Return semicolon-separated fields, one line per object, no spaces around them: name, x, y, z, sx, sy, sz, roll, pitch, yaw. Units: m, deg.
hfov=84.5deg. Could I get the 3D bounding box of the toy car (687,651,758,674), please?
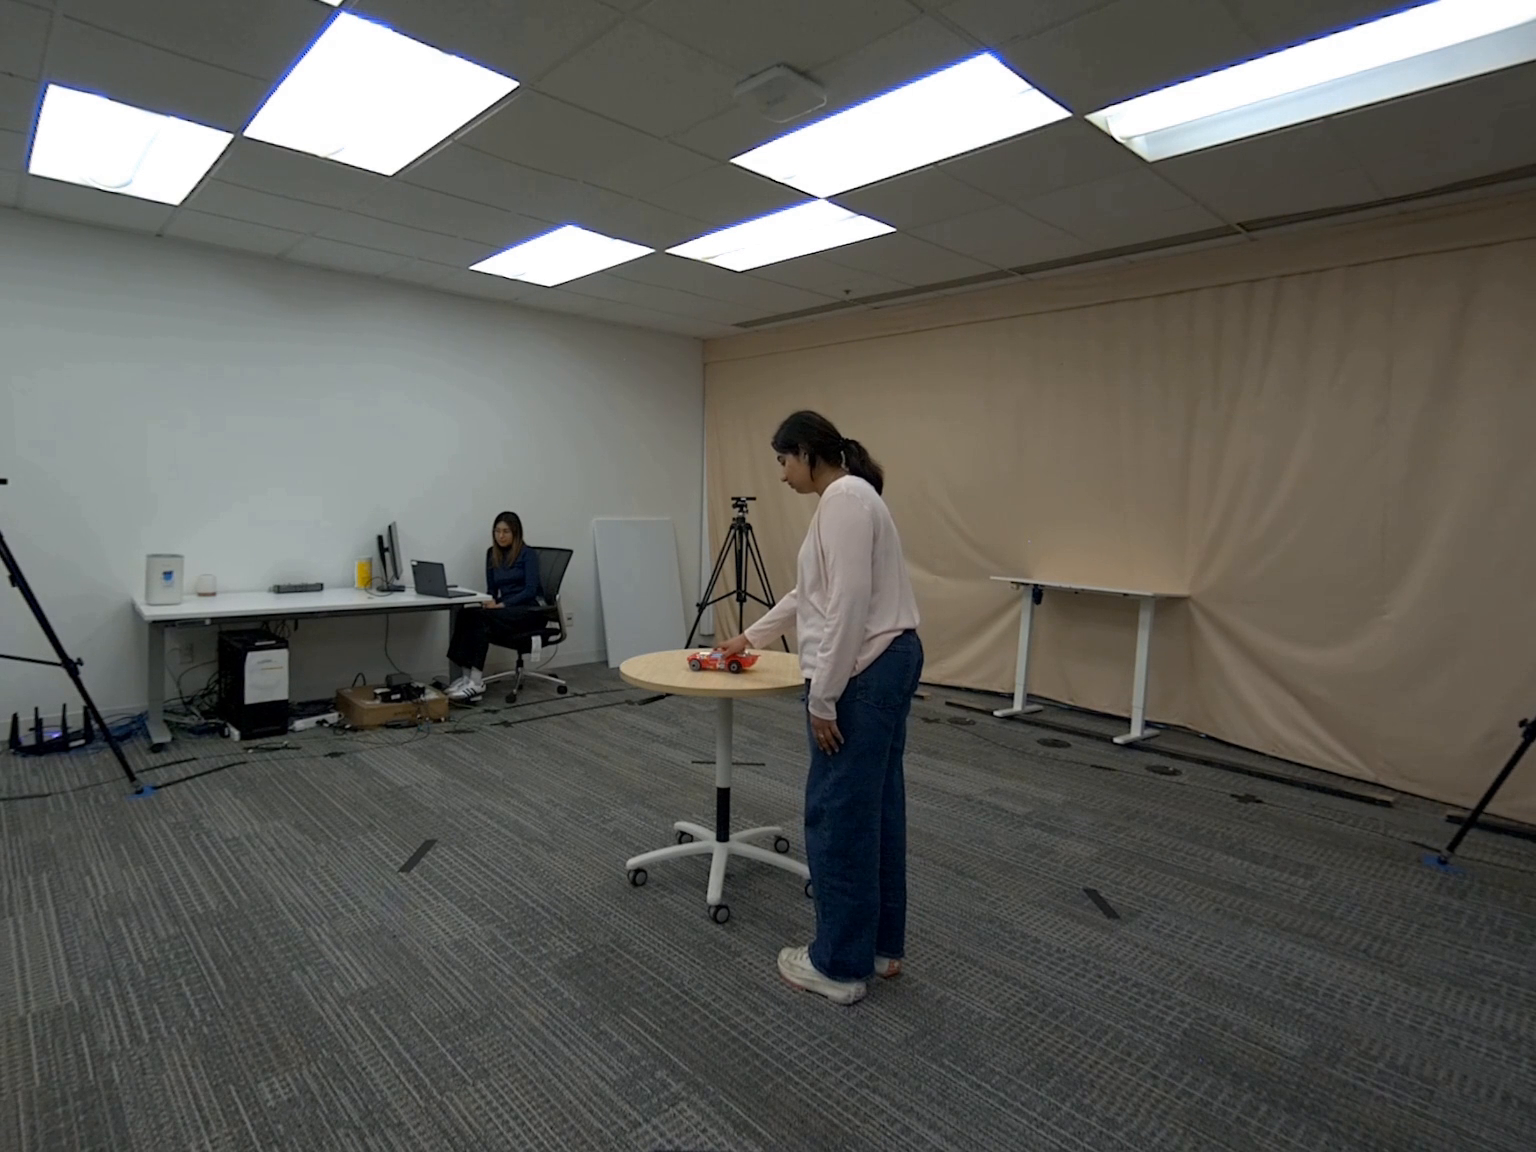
toy car;-0.160;0.302;2.976;0.257;0.083;0.129;-9;3;14
